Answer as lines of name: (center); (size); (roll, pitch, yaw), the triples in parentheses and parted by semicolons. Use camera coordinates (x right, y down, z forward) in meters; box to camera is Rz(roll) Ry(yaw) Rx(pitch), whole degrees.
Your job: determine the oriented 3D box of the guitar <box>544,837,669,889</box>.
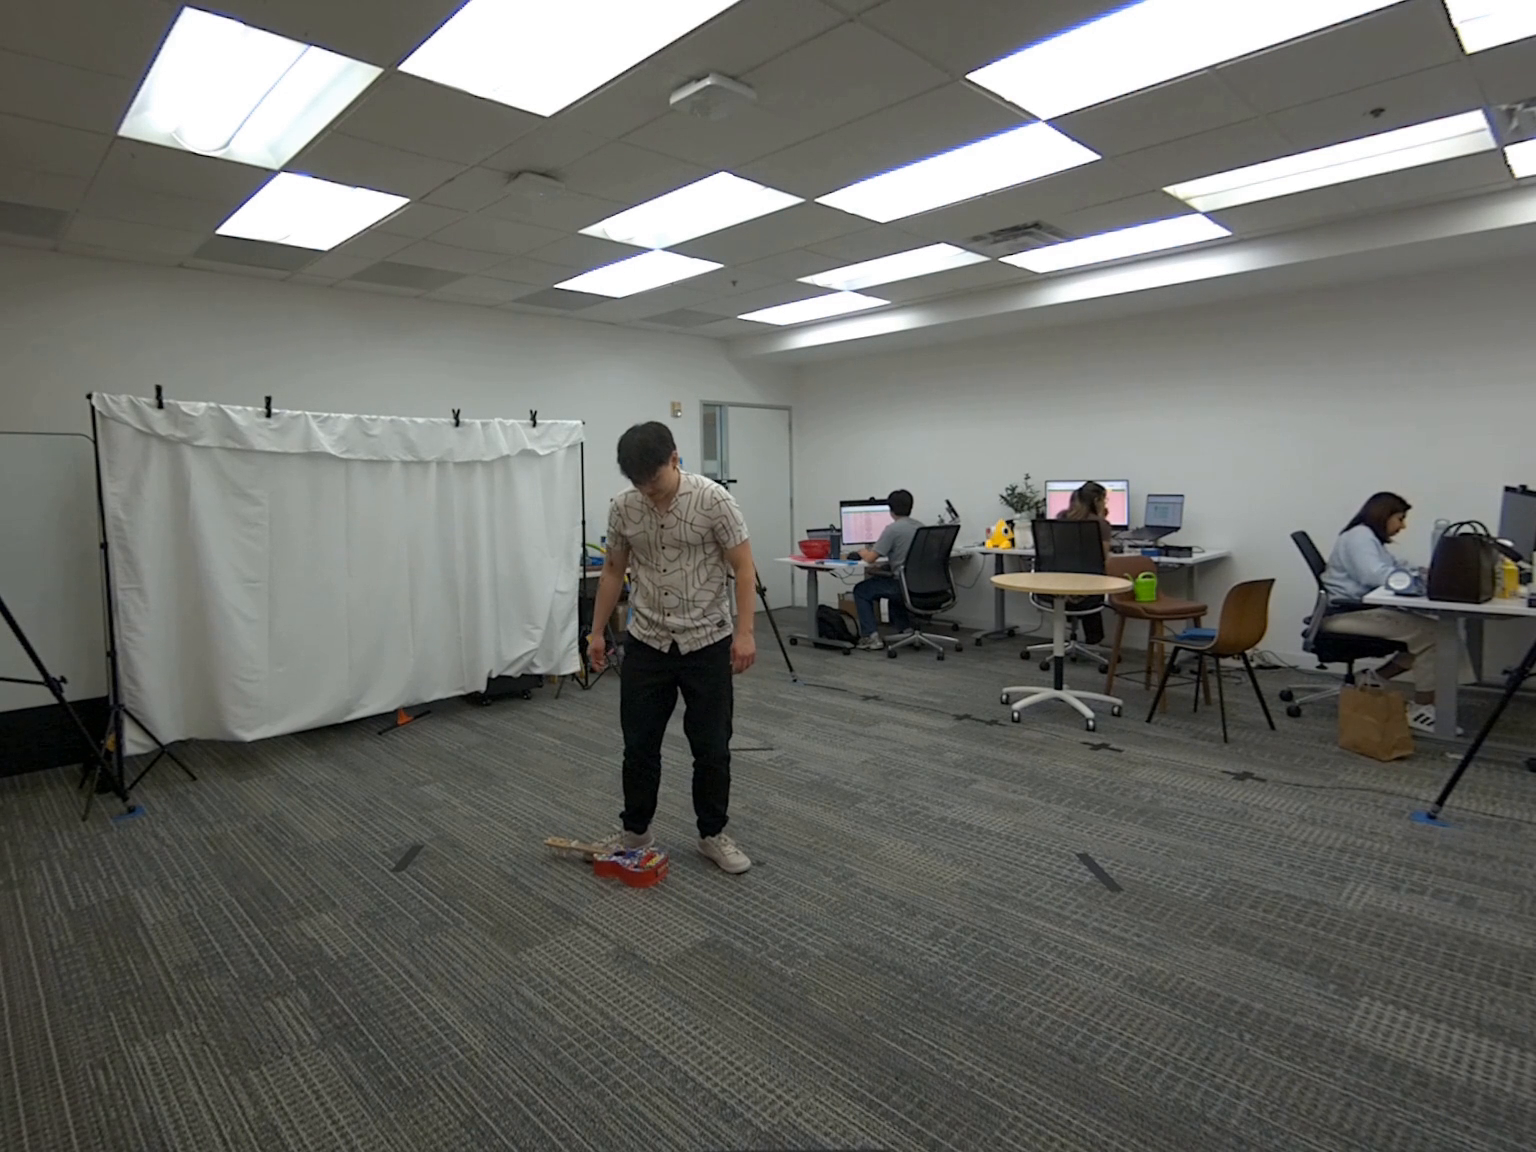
guitar: (-0.585, 1.018, 3.133); (0.512, 0.070, 0.189); (4, 9, 34)
